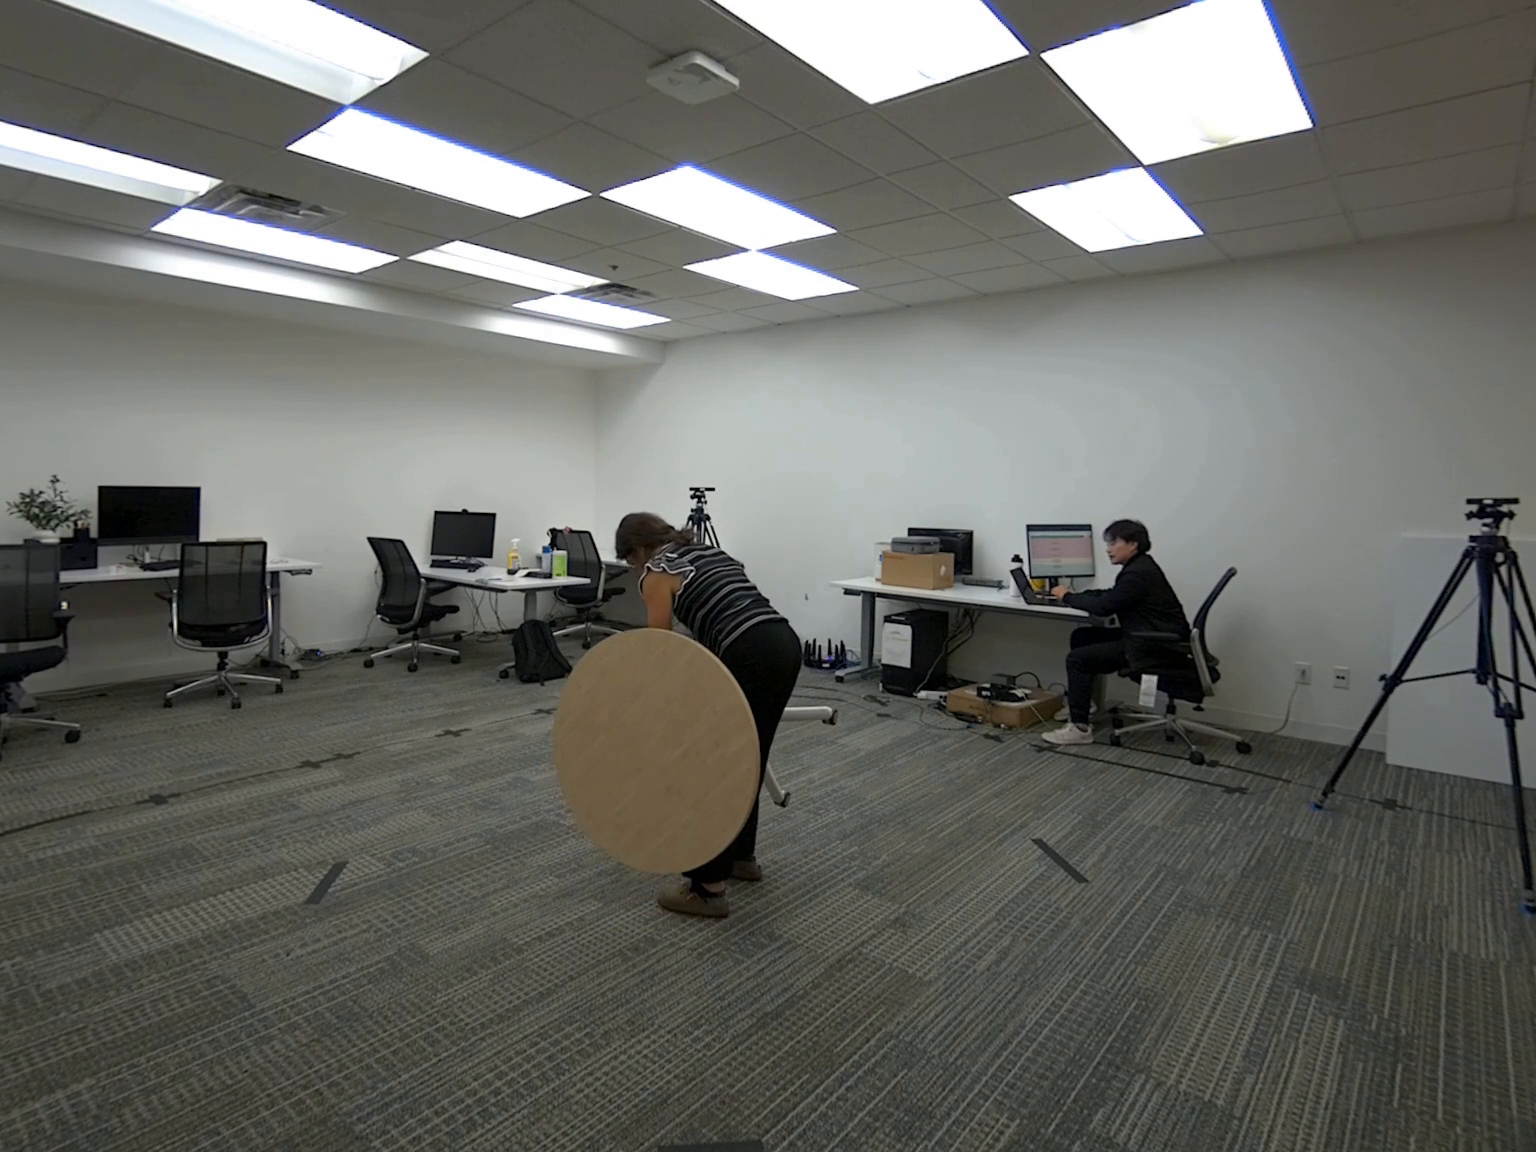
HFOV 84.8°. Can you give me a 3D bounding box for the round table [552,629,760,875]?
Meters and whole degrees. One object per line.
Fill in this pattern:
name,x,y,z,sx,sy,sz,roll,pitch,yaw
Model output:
round table,-0.224,0.555,3.053,0.785,0.764,0.772,3,1,27
